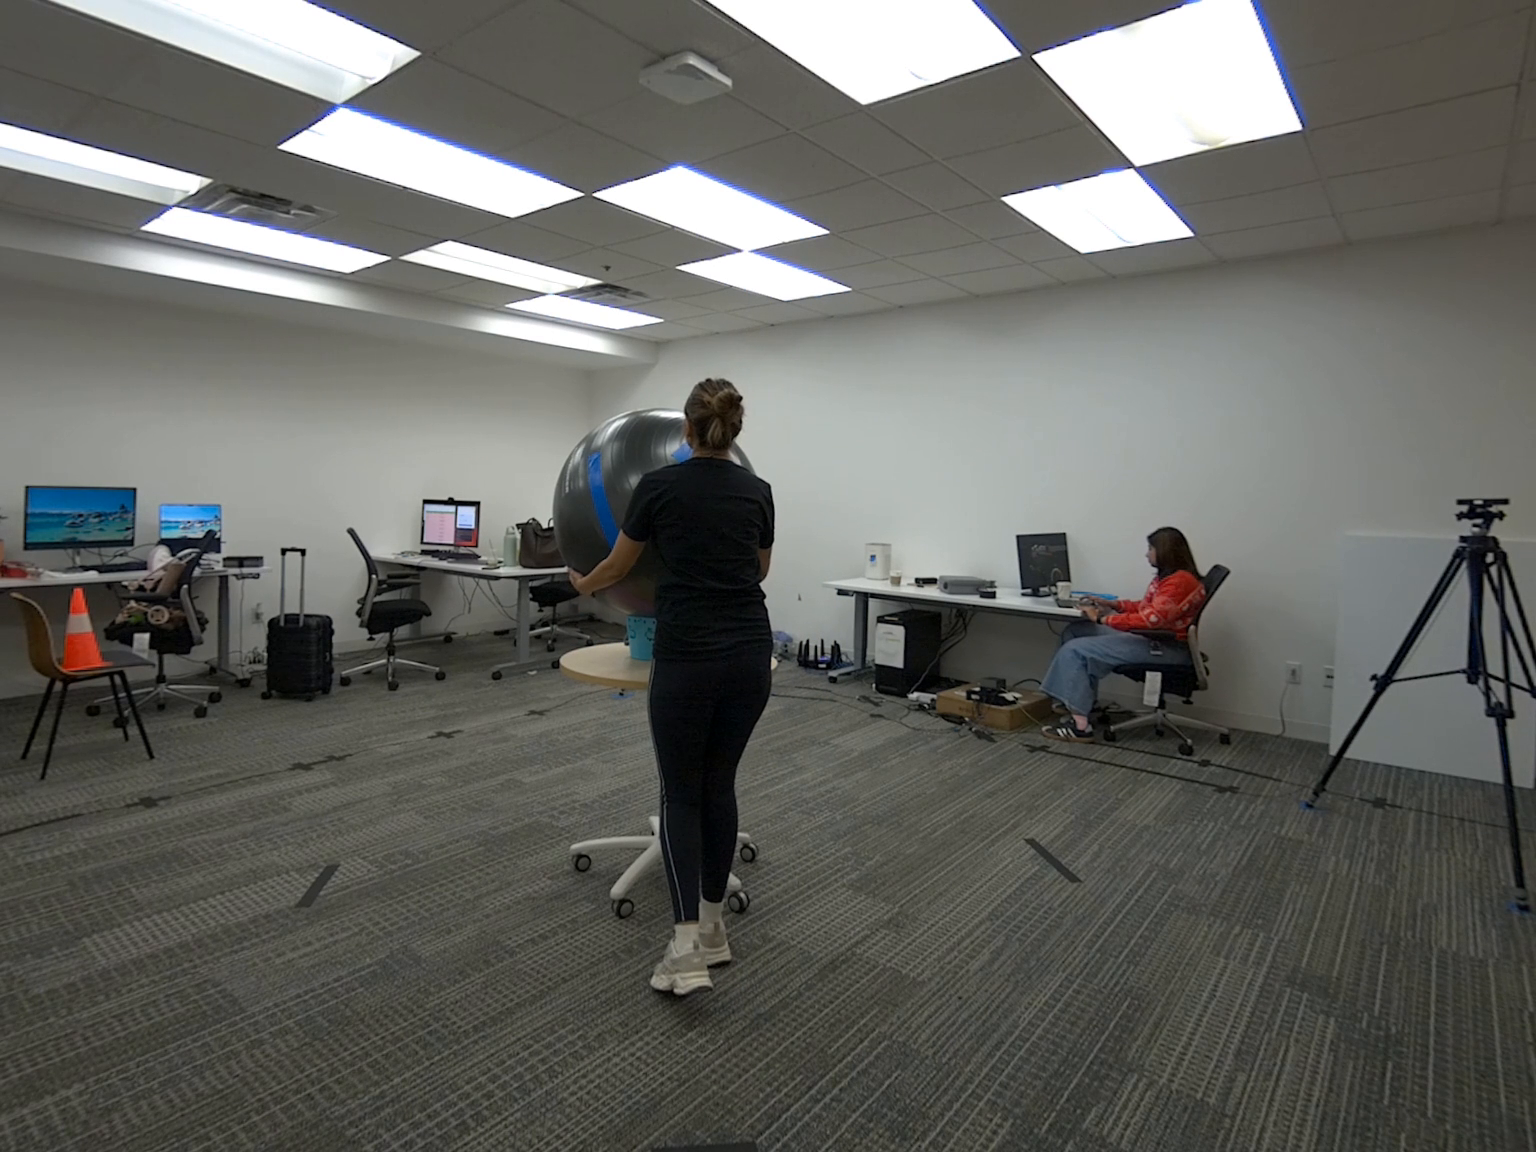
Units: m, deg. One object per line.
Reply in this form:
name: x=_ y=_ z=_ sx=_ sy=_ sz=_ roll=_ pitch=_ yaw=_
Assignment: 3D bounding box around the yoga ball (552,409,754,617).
yoga ball: x=-0.402 y=-0.220 z=3.062 sx=0.757 sy=0.756 sz=0.761 roll=1 pitch=4 yaw=-2
